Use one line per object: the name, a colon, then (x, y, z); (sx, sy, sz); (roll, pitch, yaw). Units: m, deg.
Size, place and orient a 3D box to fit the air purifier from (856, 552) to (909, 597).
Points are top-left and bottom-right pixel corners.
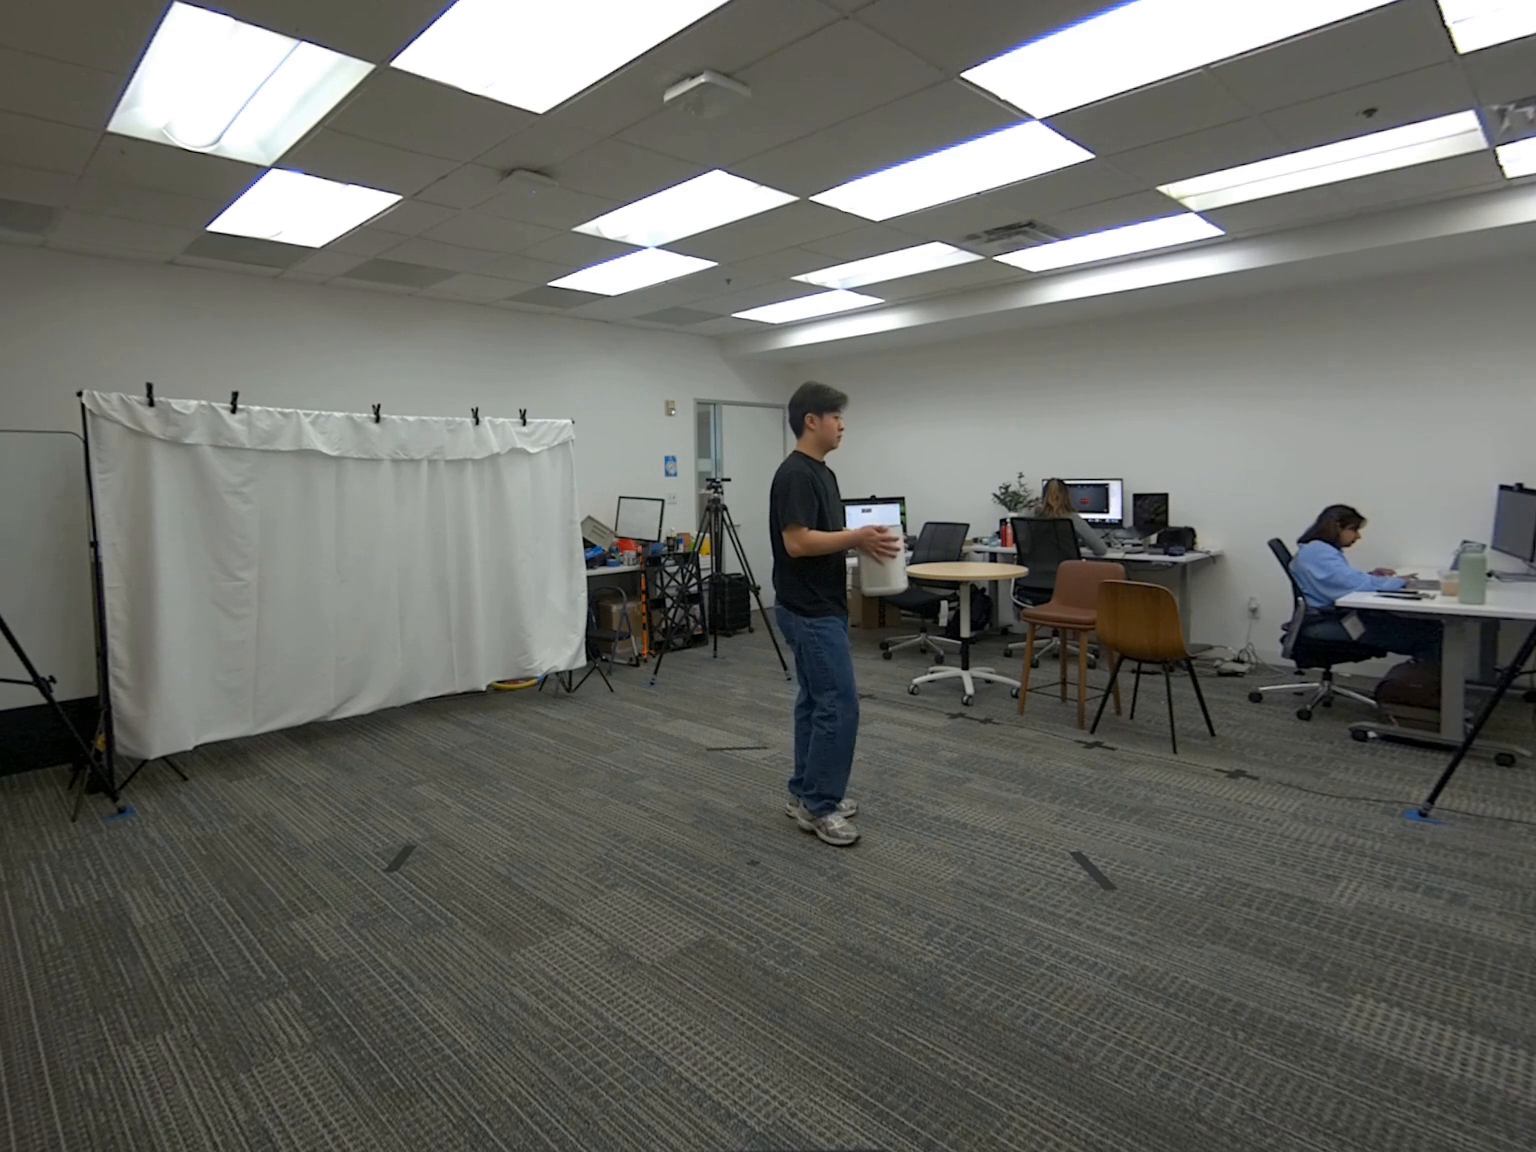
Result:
air purifier: (0.444, -0.062, 3.344); (0.175, 0.265, 0.168); (-7, 0, 23)
